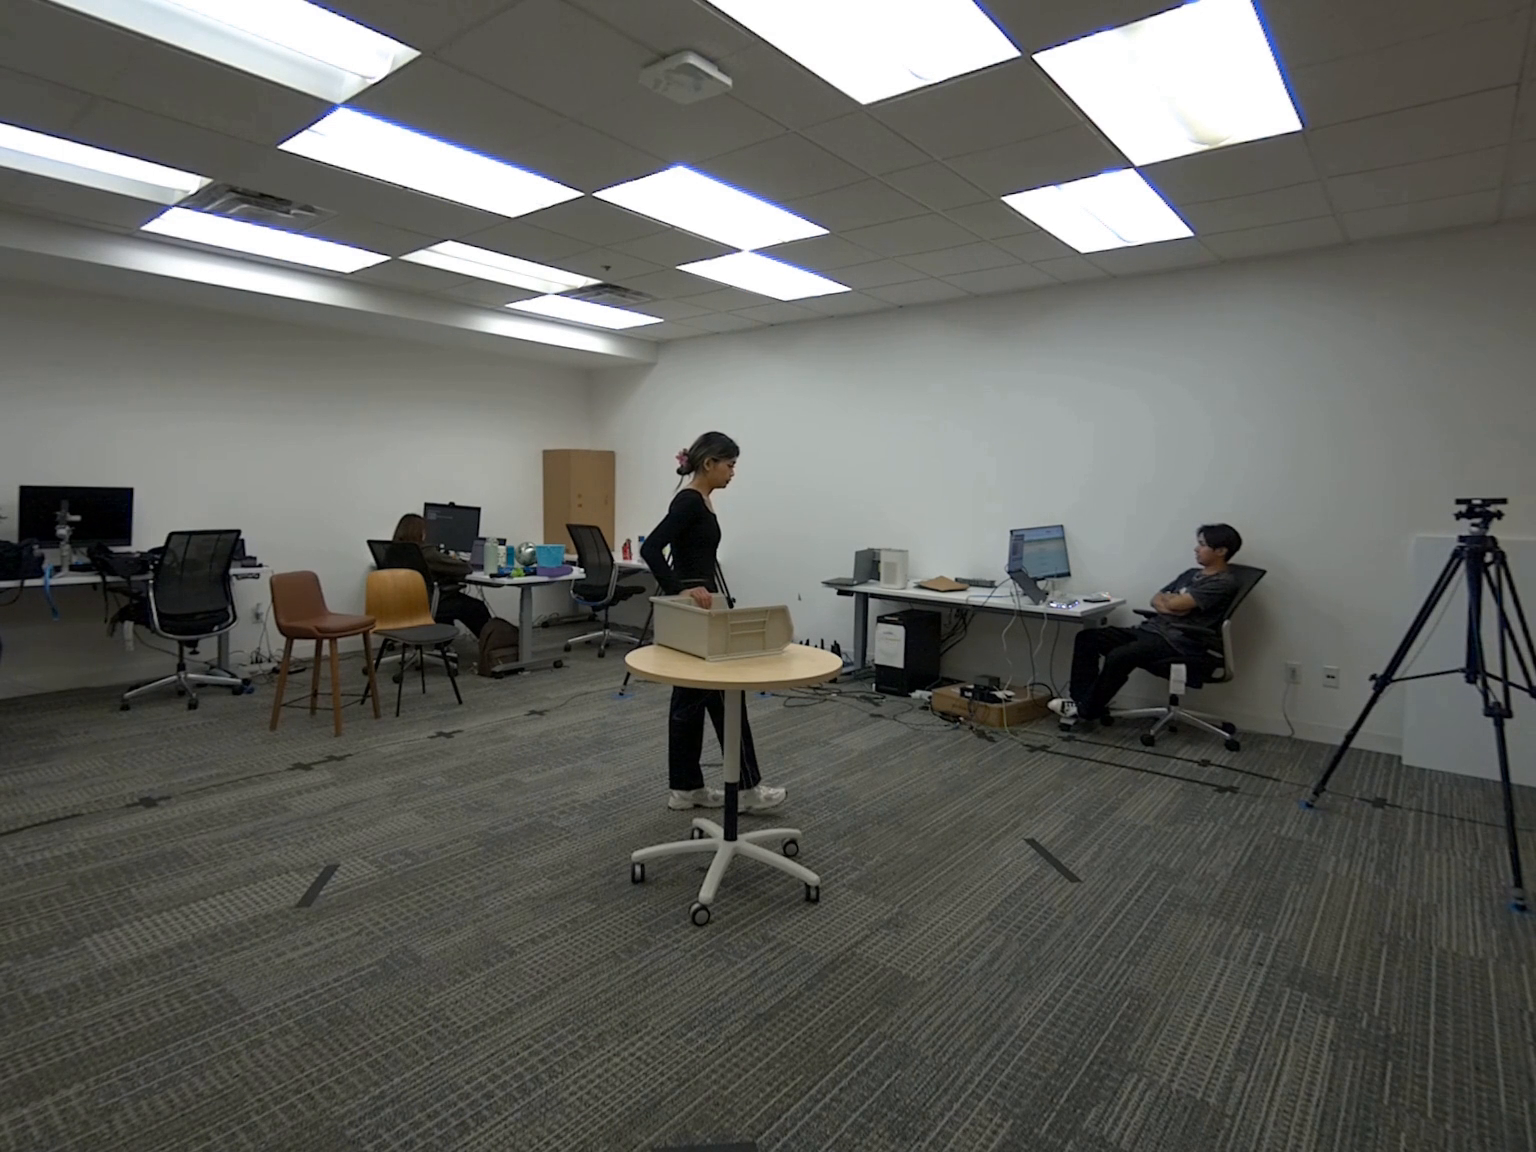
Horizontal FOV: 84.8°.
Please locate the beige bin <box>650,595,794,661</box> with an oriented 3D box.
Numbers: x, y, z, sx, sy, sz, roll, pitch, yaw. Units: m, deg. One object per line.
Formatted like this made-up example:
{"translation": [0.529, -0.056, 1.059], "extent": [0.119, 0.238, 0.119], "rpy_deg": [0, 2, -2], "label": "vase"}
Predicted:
{"translation": [-0.187, 0.175, 3.195], "extent": [0.367, 0.188, 0.436], "rpy_deg": [-5, 9, -35], "label": "beige bin"}
